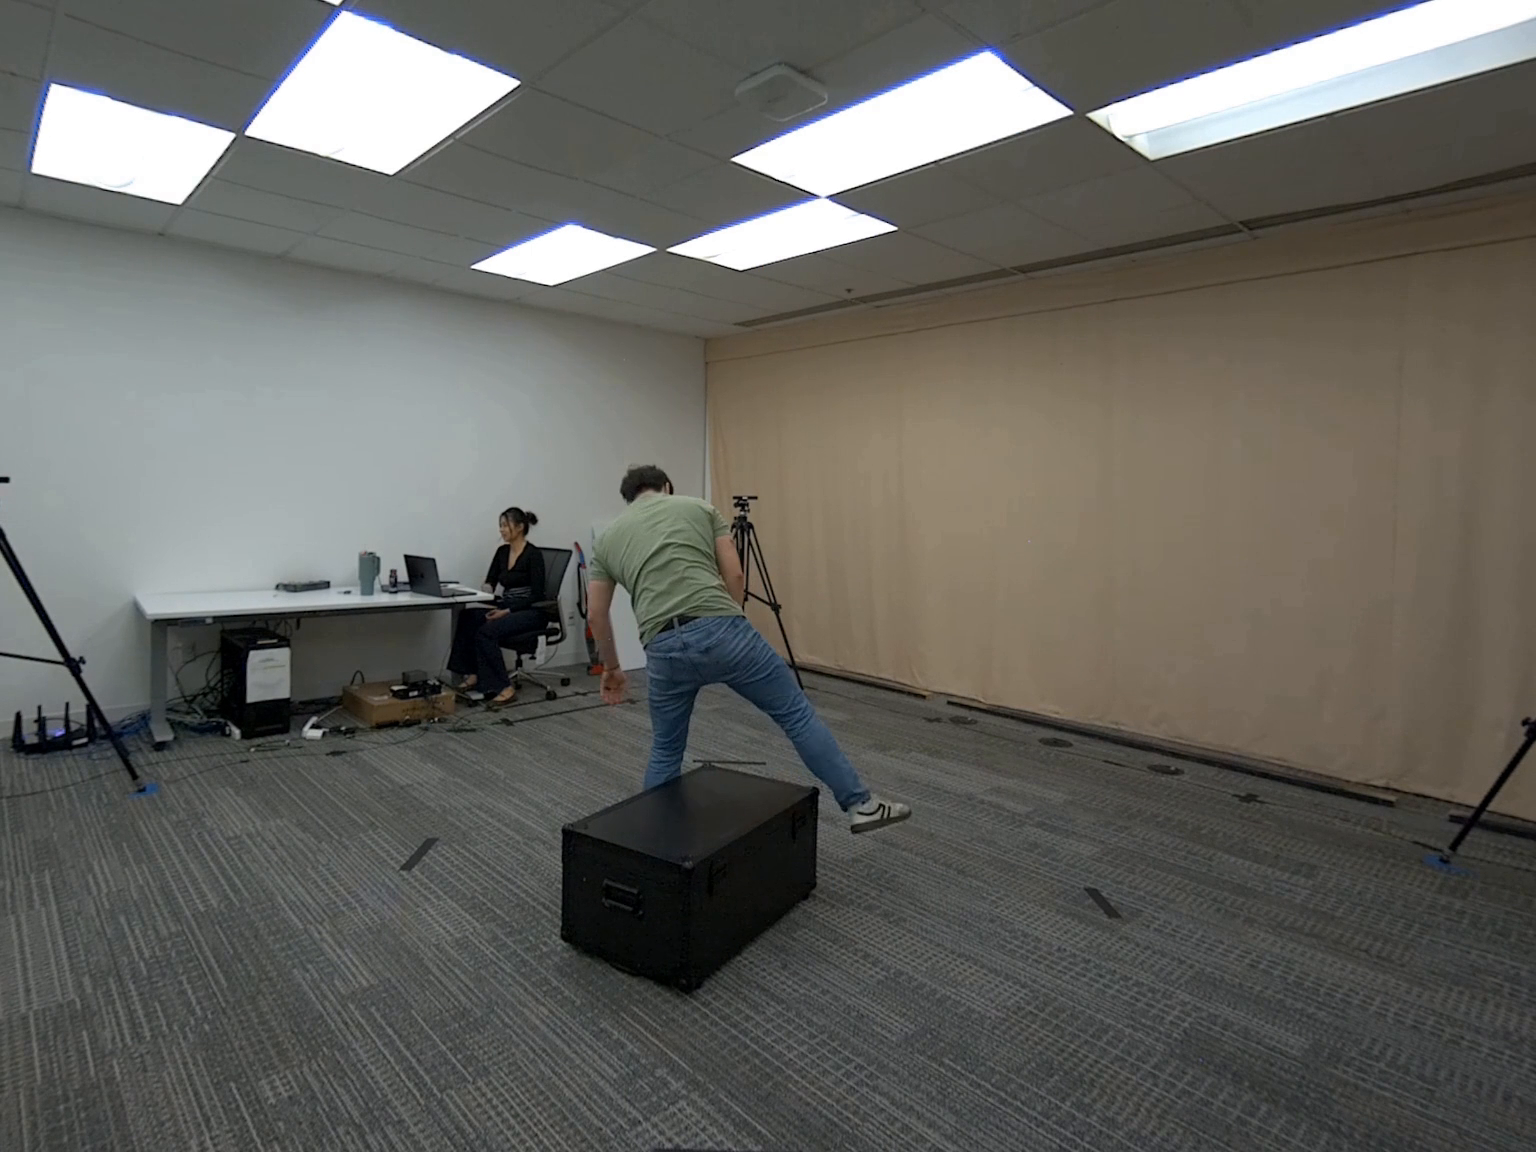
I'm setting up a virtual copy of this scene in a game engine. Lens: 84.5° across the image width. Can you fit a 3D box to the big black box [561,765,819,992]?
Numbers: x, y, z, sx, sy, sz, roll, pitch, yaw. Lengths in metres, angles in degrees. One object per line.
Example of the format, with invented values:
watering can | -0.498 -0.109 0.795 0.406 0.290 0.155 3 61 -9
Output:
big black box | -0.214 0.938 2.784 0.533 0.395 0.845 4 6 31
